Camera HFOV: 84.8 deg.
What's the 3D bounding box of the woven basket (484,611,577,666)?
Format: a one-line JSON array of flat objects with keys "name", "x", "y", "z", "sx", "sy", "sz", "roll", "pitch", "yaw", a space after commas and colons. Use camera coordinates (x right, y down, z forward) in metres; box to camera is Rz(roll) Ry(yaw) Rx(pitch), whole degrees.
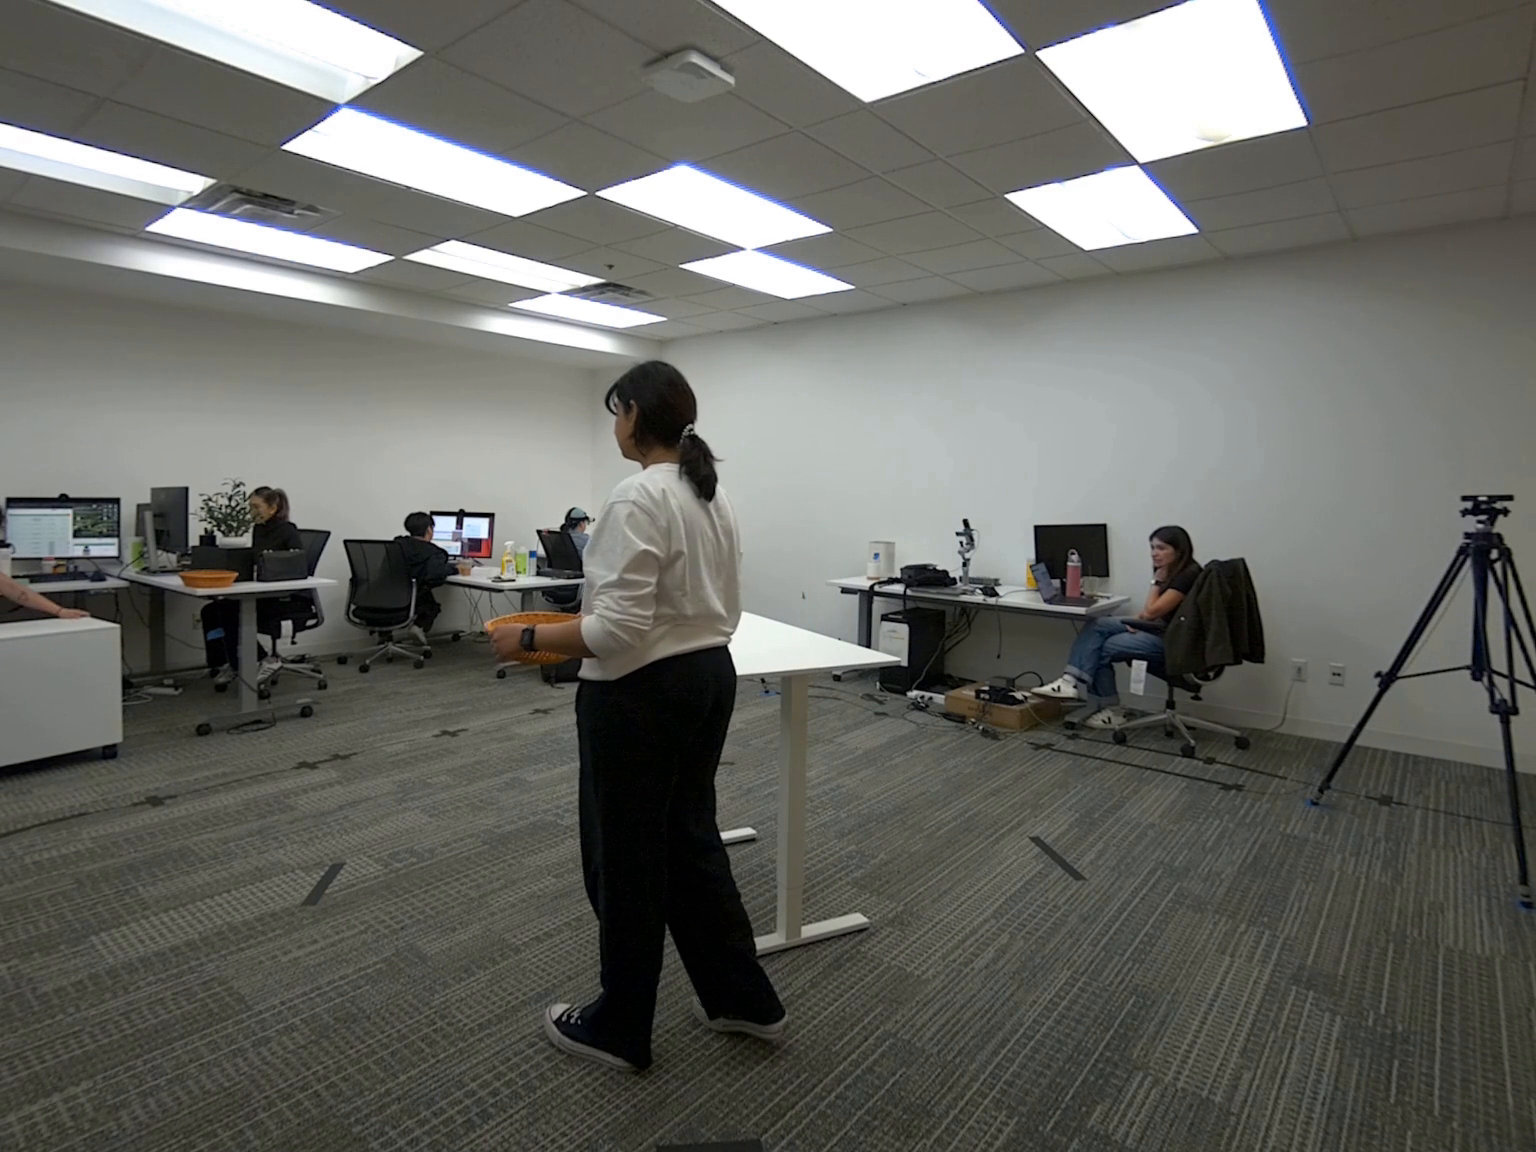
[{"name": "woven basket", "x": -0.527, "y": 0.163, "z": 2.143, "sx": 0.254, "sy": 0.073, "sz": 0.348, "roll": 2, "pitch": 2, "yaw": 6}]
